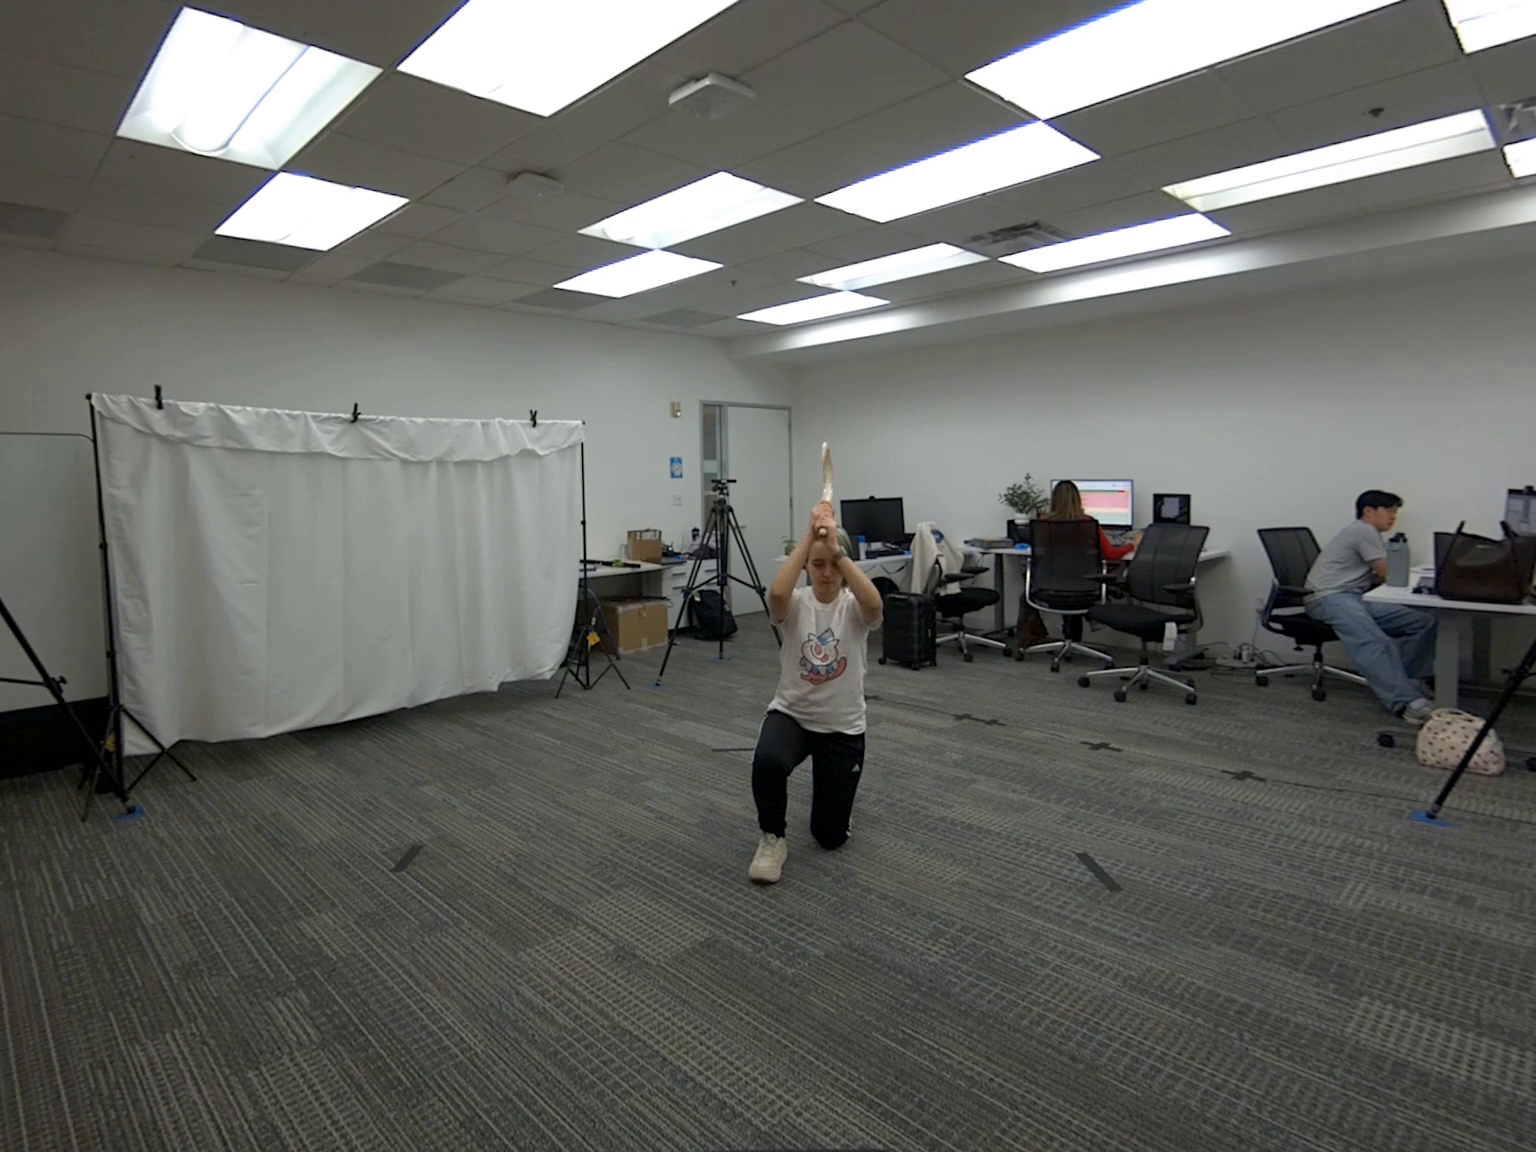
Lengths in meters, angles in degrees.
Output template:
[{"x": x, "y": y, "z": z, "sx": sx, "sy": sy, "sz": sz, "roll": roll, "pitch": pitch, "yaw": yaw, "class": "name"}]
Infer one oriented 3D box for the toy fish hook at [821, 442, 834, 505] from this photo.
[{"x": 0.204, "y": -0.314, "z": 3.059, "sx": 0.049, "sy": 0.218, "sz": 0.515, "roll": -5, "pitch": 31, "yaw": 10, "class": "toy fish hook"}]
